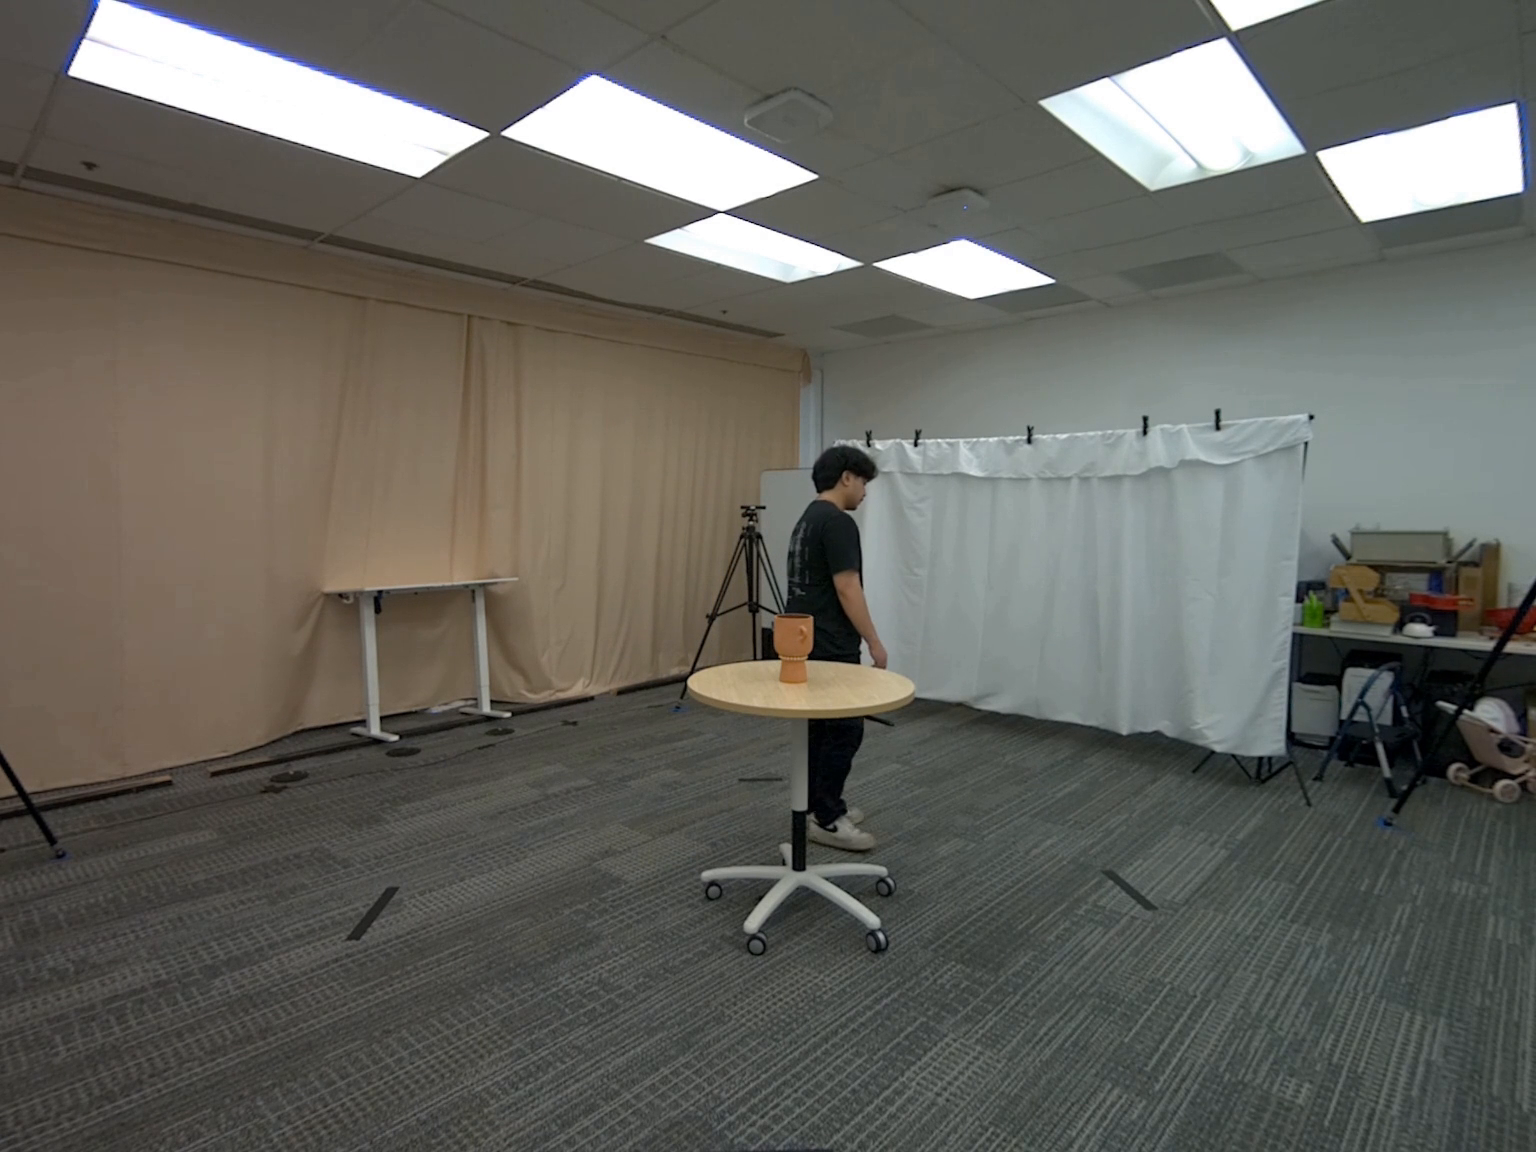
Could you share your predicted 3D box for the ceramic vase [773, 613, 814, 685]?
[{"bbox_3d":[0.093,0.250,2.874,0.137,0.219,0.156,2,5,16],"label":"ceramic vase"}]
